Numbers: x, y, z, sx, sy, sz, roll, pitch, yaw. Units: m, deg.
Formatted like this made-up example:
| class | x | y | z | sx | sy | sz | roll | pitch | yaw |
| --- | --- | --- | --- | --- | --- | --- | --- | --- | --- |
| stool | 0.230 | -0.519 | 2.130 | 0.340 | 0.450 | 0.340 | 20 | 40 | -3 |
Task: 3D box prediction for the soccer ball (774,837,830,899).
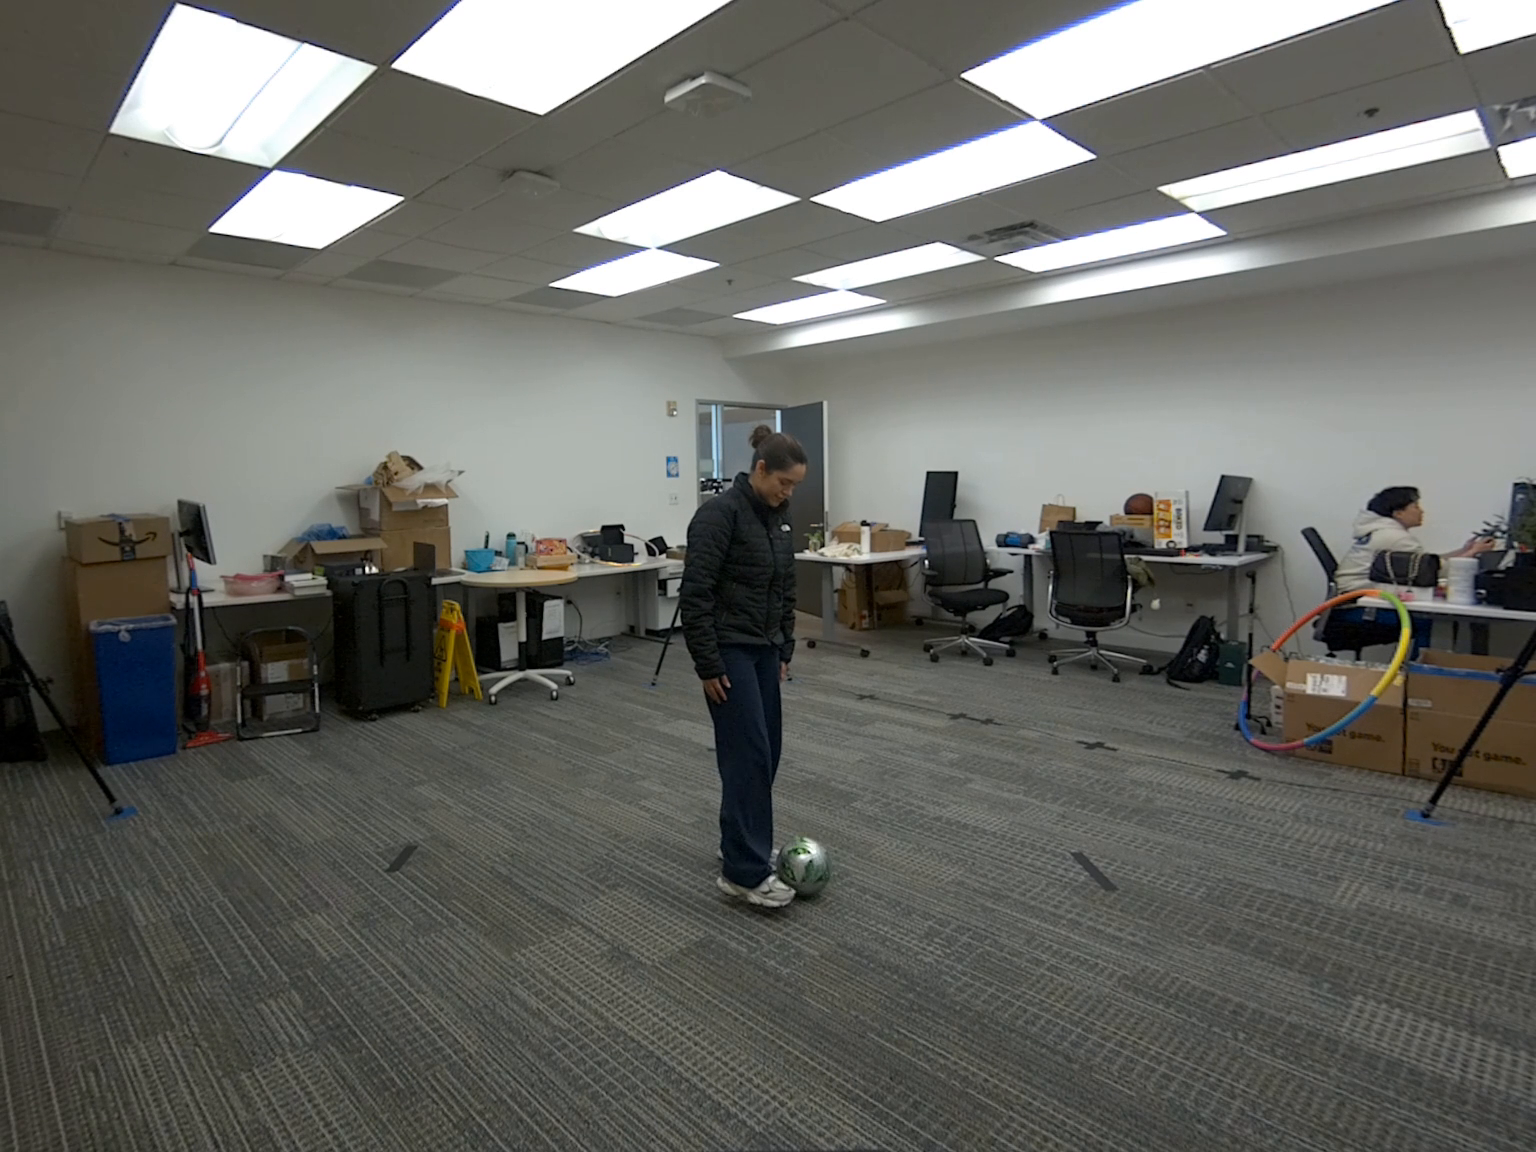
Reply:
| class | x | y | z | sx | sy | sz | roll | pitch | yaw |
| --- | --- | --- | --- | --- | --- | --- | --- | --- | --- |
| soccer ball | 0.123 | 0.971 | 2.870 | 0.187 | 0.187 | 0.188 | -1 | 5 | -2 |
